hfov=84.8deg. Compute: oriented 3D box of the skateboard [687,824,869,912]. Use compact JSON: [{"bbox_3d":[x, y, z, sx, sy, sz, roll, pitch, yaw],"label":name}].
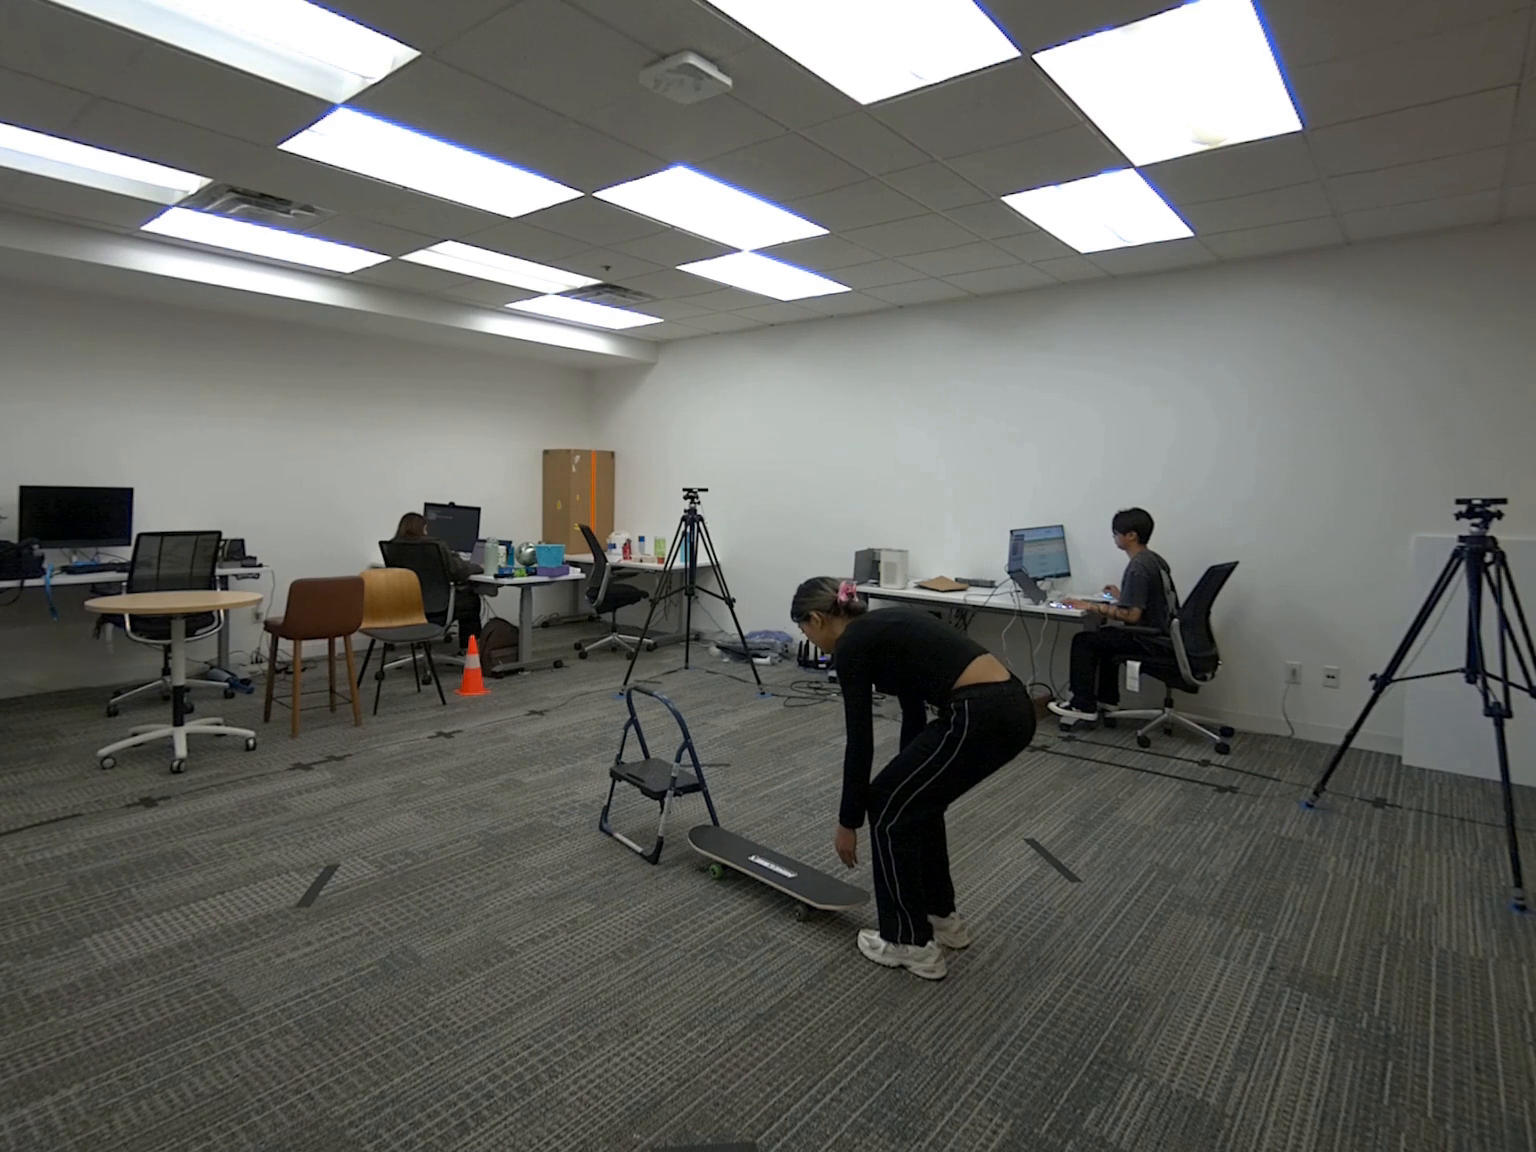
[{"bbox_3d":[0.009,1.036,2.946,0.813,0.110,0.188,7,8,44],"label":"skateboard"}]
